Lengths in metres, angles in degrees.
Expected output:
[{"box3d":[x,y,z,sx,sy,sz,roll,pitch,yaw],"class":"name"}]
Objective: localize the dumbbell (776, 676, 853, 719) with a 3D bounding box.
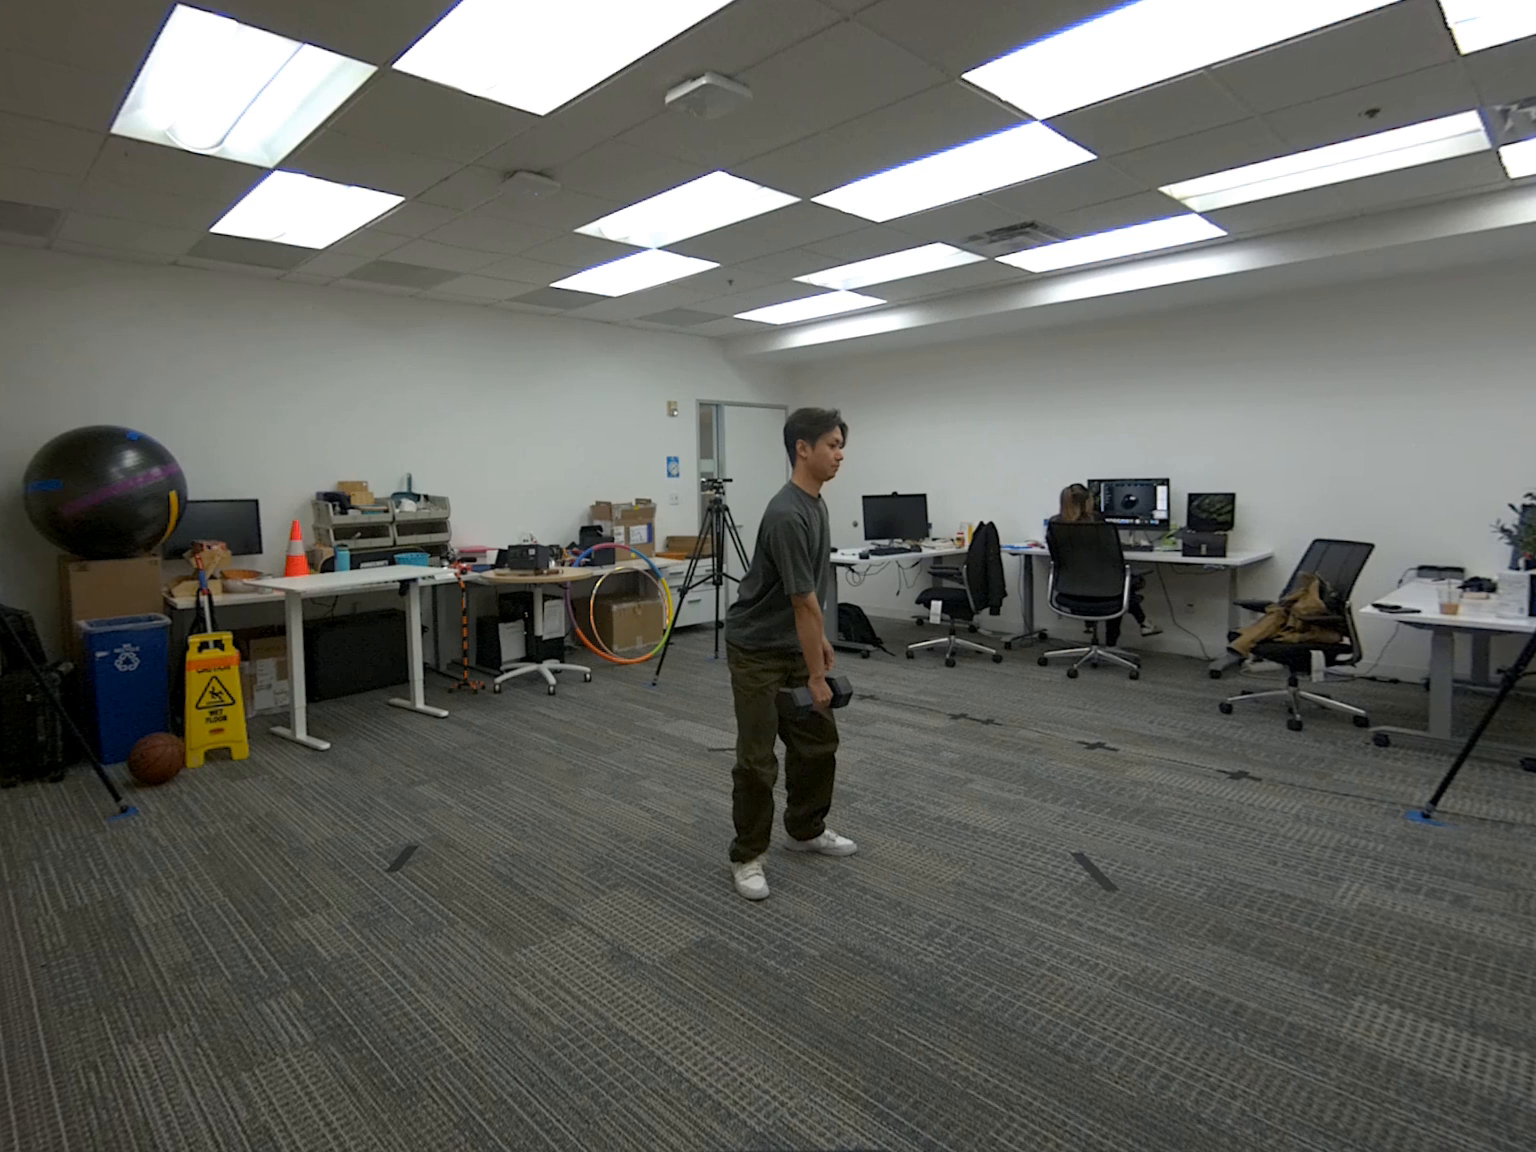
[{"box3d":[0.157,0.417,2.894,0.286,0.121,0.113,-7,35,-44],"class":"dumbbell"}]
